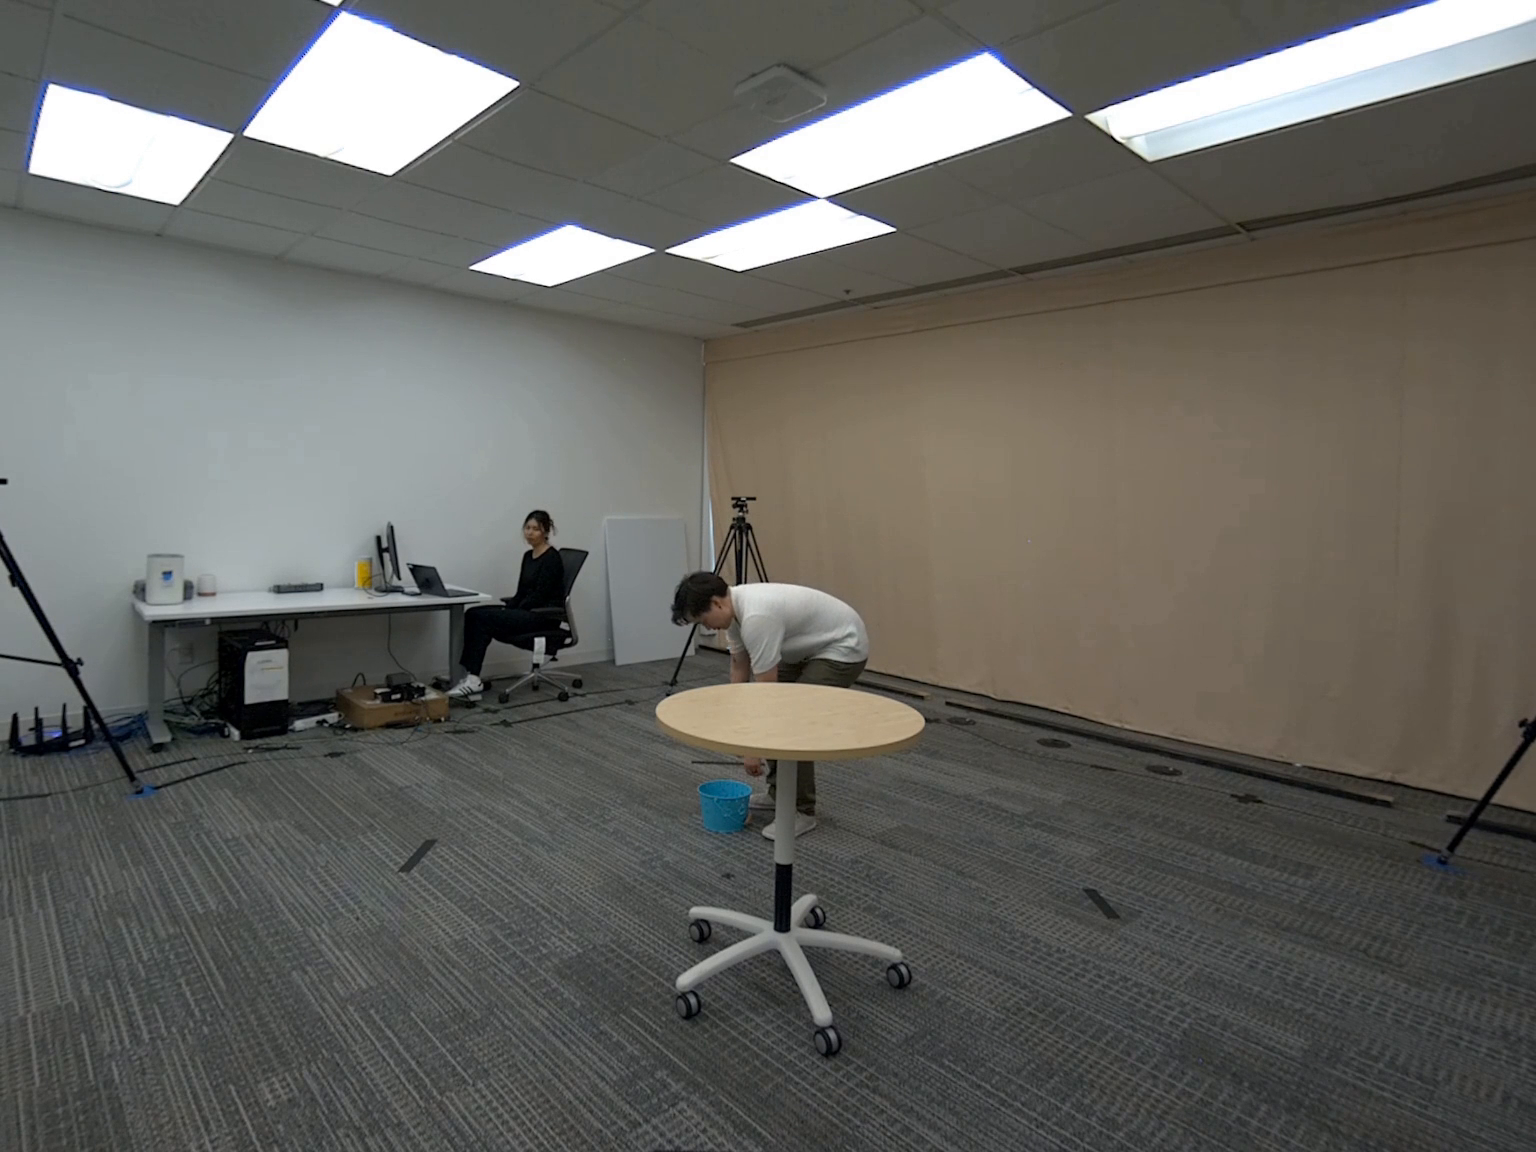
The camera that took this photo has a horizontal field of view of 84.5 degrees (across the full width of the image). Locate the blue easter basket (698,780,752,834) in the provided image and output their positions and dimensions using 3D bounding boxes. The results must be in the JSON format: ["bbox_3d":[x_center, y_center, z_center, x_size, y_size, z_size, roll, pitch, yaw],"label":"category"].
[{"bbox_3d":[-0.197,0.983,3.599,0.243,0.155,0.244,1,4,-1],"label":"blue easter basket"}]
